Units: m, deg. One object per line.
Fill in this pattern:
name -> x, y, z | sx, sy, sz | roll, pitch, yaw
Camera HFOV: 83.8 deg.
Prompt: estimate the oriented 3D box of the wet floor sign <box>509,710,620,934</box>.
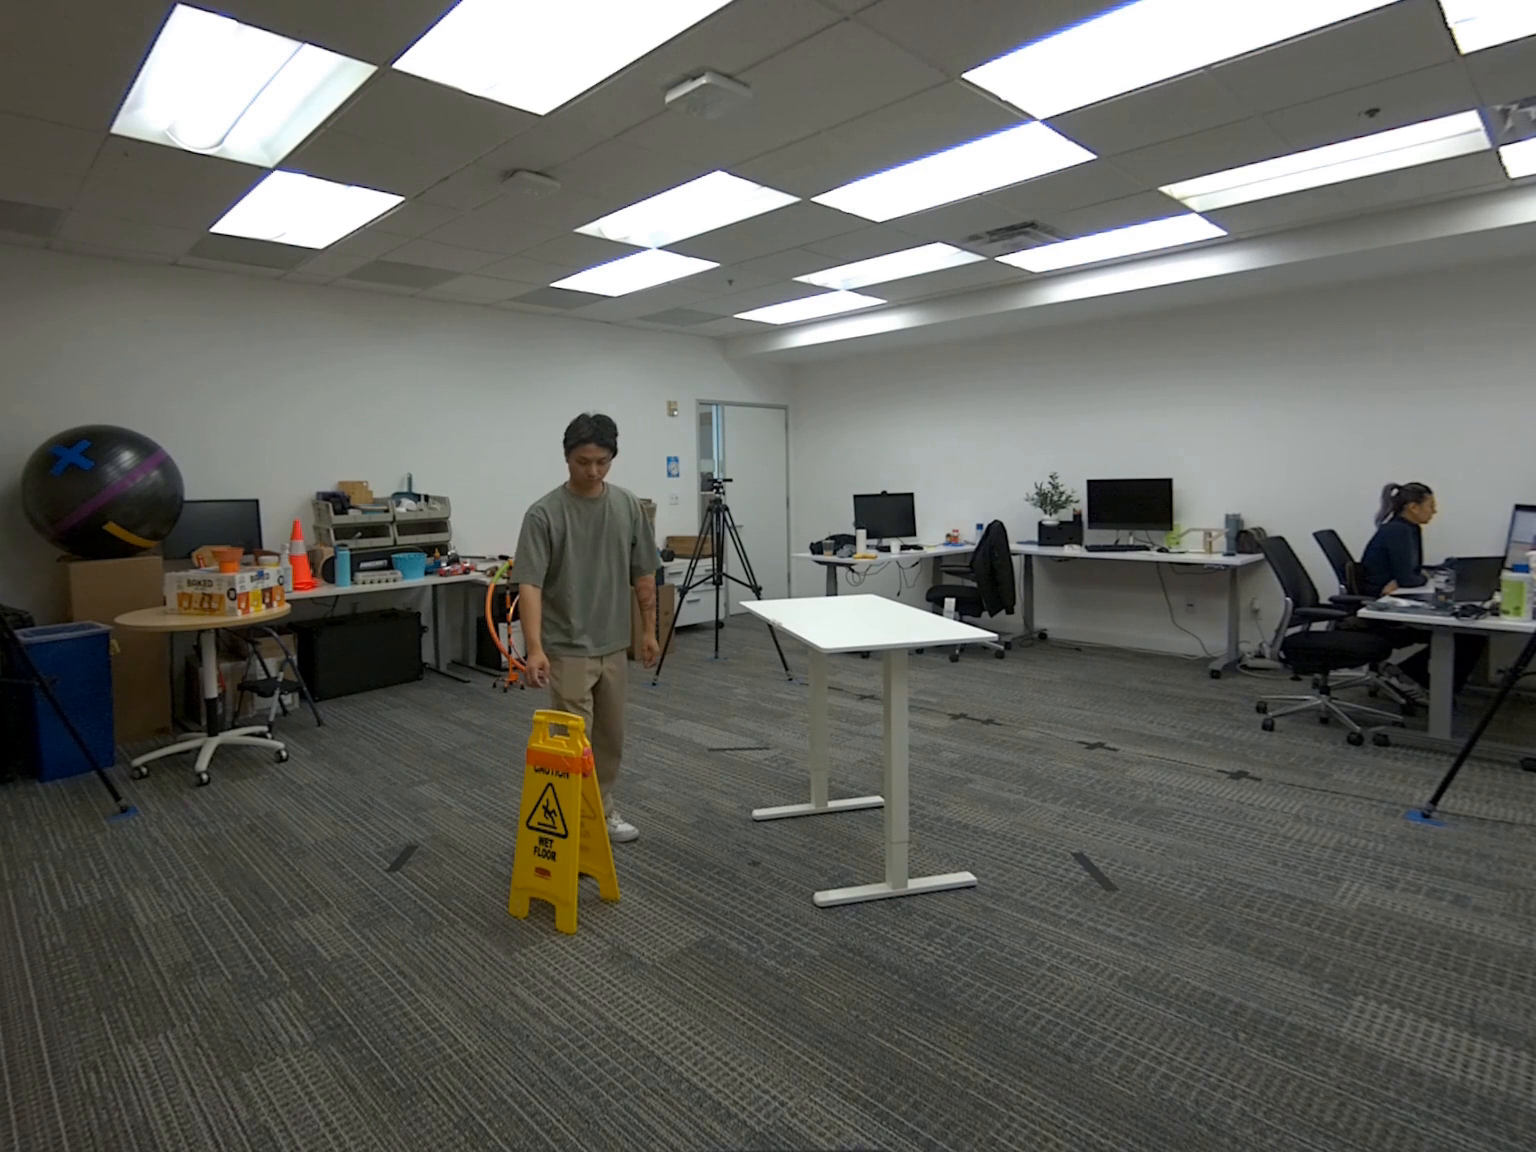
wet floor sign -> -0.672, 0.769, 2.791 | 0.289, 0.644, 0.284 | 0, 4, 27
